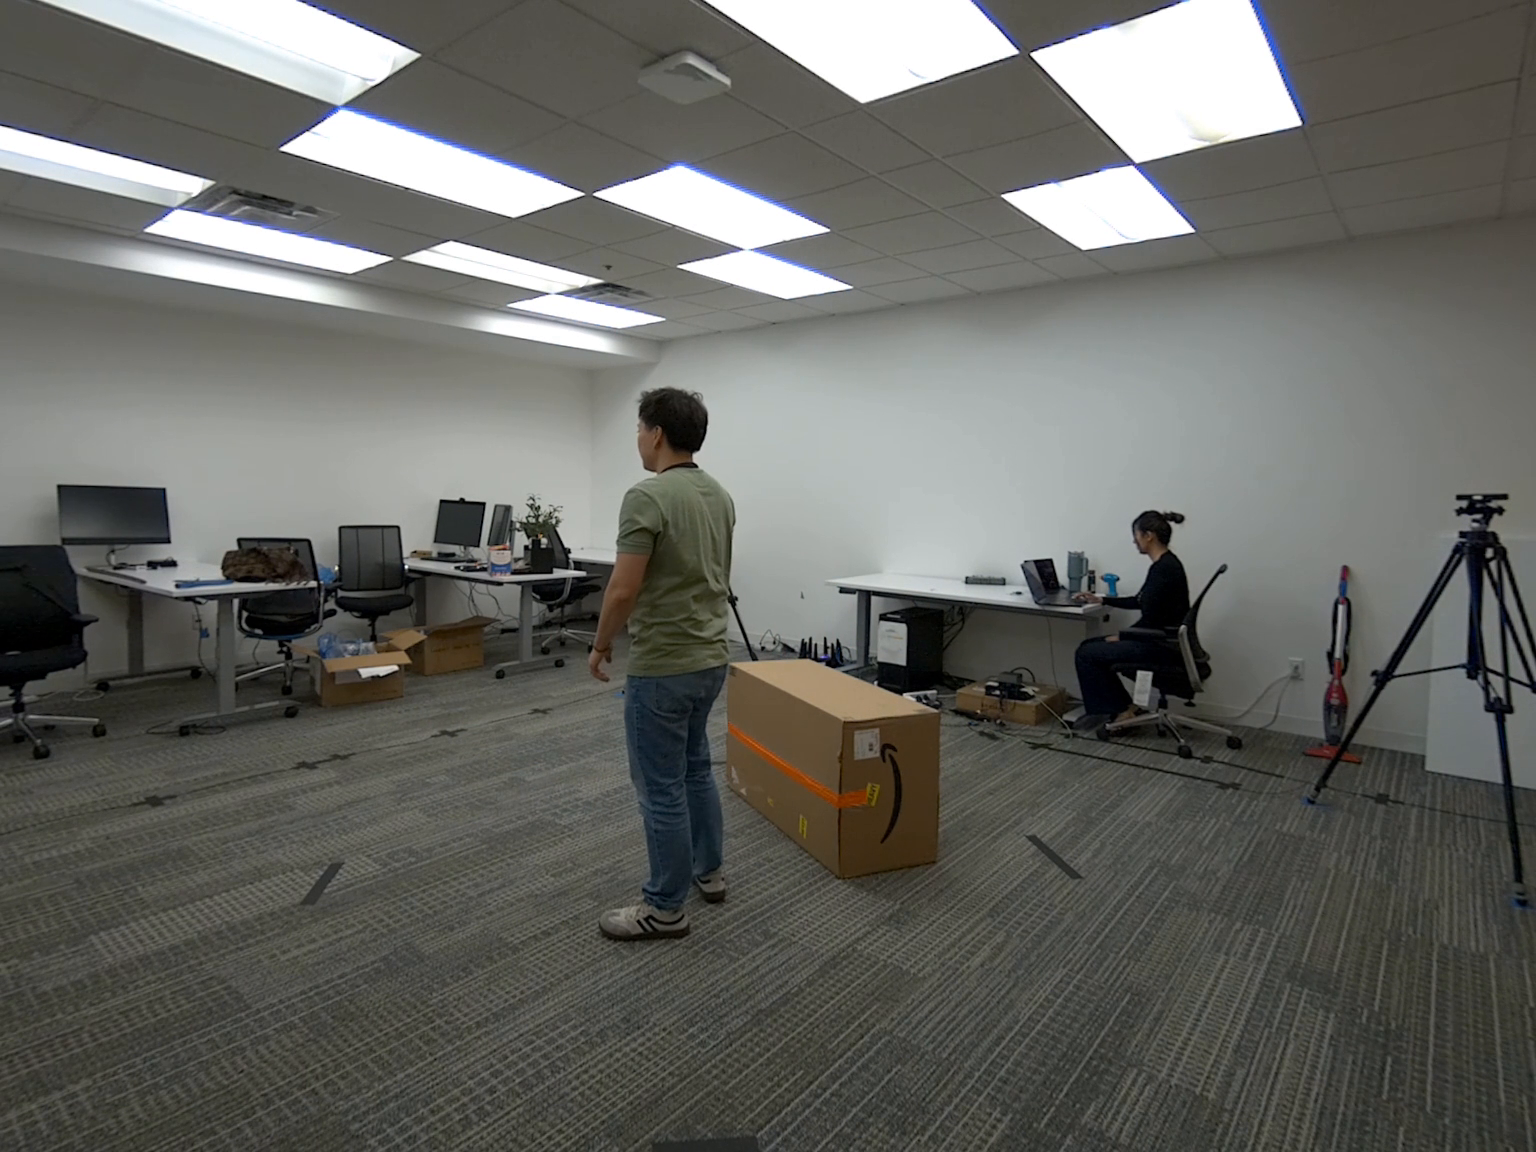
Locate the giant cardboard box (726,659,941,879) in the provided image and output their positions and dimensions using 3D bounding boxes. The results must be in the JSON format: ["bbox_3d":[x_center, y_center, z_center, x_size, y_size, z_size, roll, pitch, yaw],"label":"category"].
[{"bbox_3d":[0.218,0.735,3.565,0.416,0.575,1.054,-1,6,-25],"label":"giant cardboard box"}]
